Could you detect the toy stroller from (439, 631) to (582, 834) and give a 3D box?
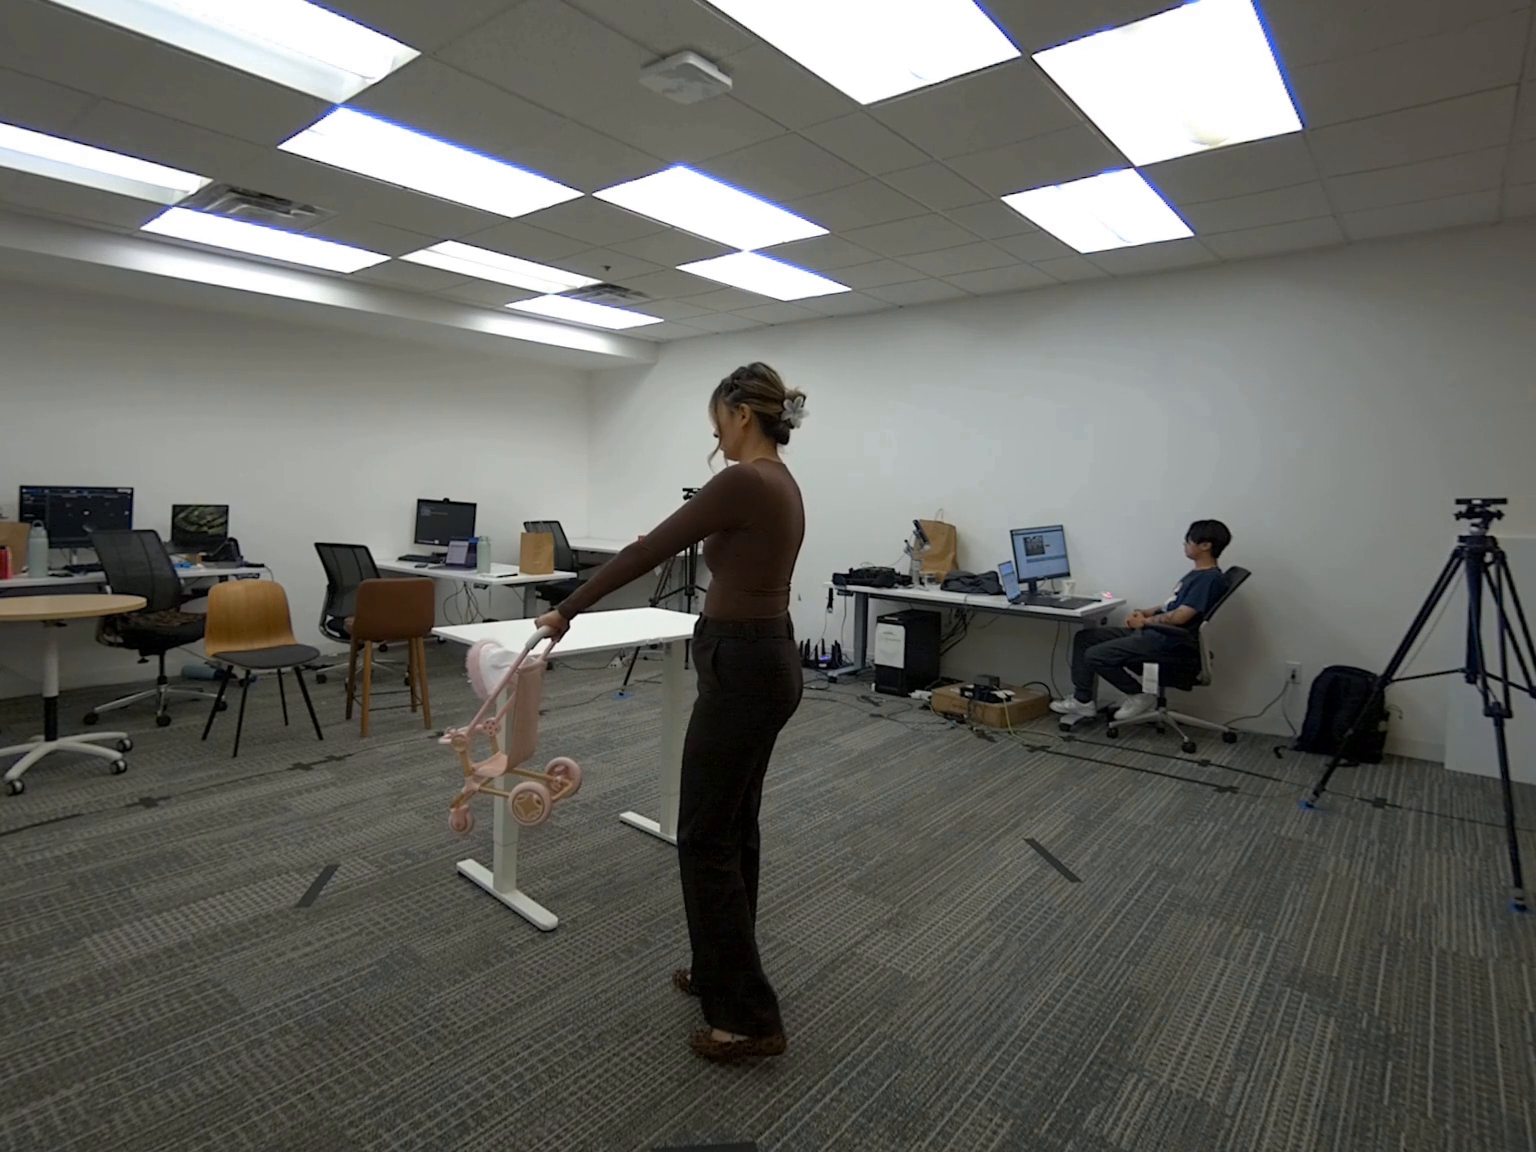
[{"bbox_3d":[-0.695,0.401,2.212,0.346,0.536,0.277,-5,-1,12],"label":"toy stroller"}]
